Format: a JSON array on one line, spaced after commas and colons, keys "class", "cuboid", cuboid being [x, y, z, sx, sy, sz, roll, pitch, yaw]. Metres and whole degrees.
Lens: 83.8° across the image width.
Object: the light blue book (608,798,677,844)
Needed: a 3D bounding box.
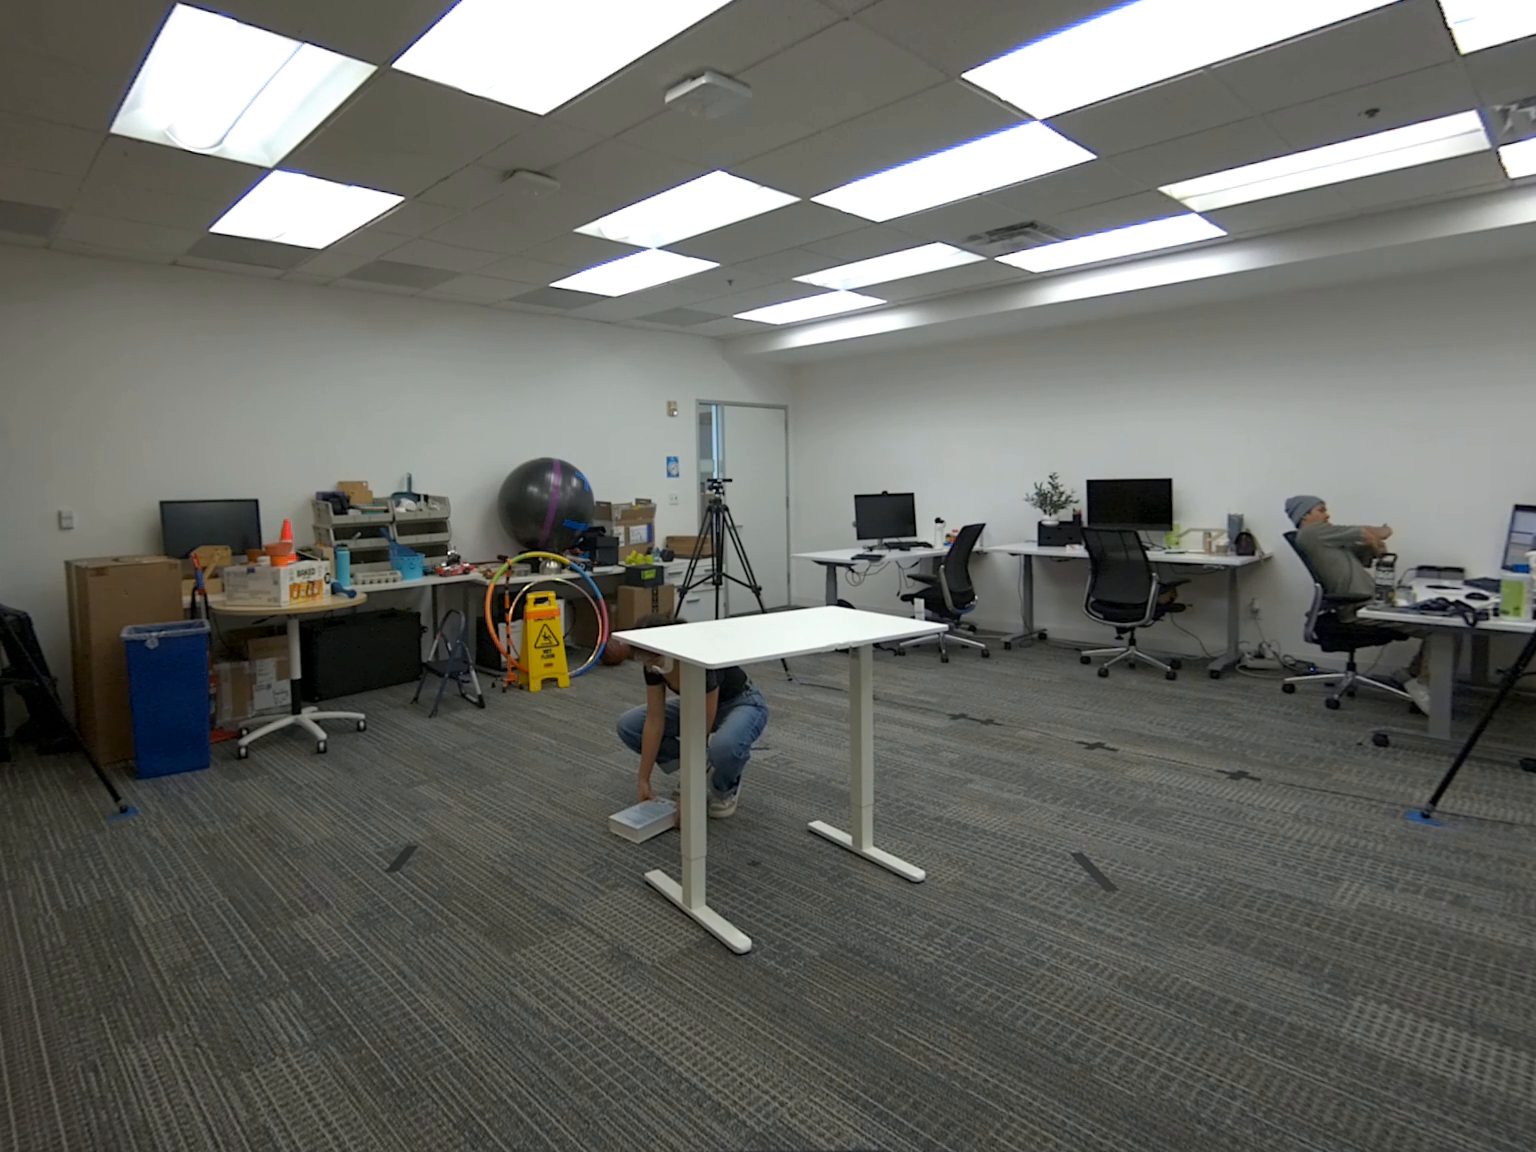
[{"class": "light blue book", "cuboid": [-0.491, 0.981, 3.445, 0.197, 0.058, 0.255, 3, 11, 43]}]
